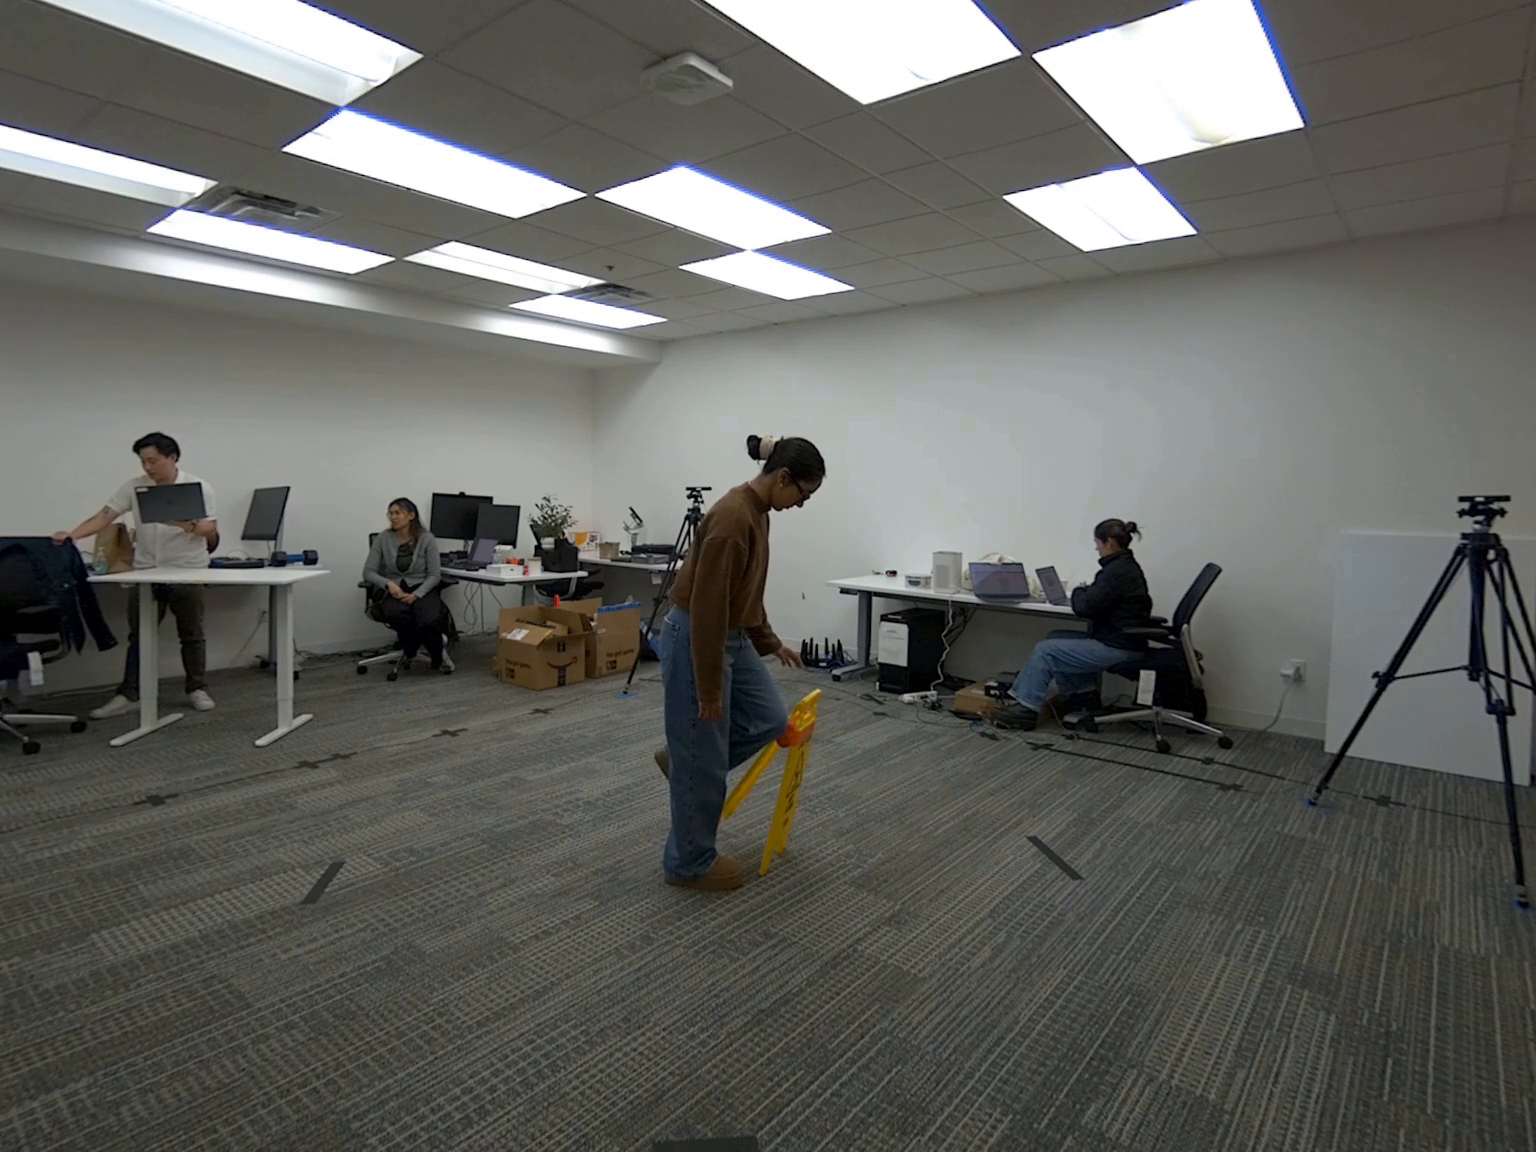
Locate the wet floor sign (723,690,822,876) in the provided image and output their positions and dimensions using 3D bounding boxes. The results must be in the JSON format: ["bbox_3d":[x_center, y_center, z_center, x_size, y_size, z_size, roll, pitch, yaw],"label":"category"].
[{"bbox_3d":[0.030,0.720,3.157,0.297,0.642,0.277,27,13,18],"label":"wet floor sign"}]
